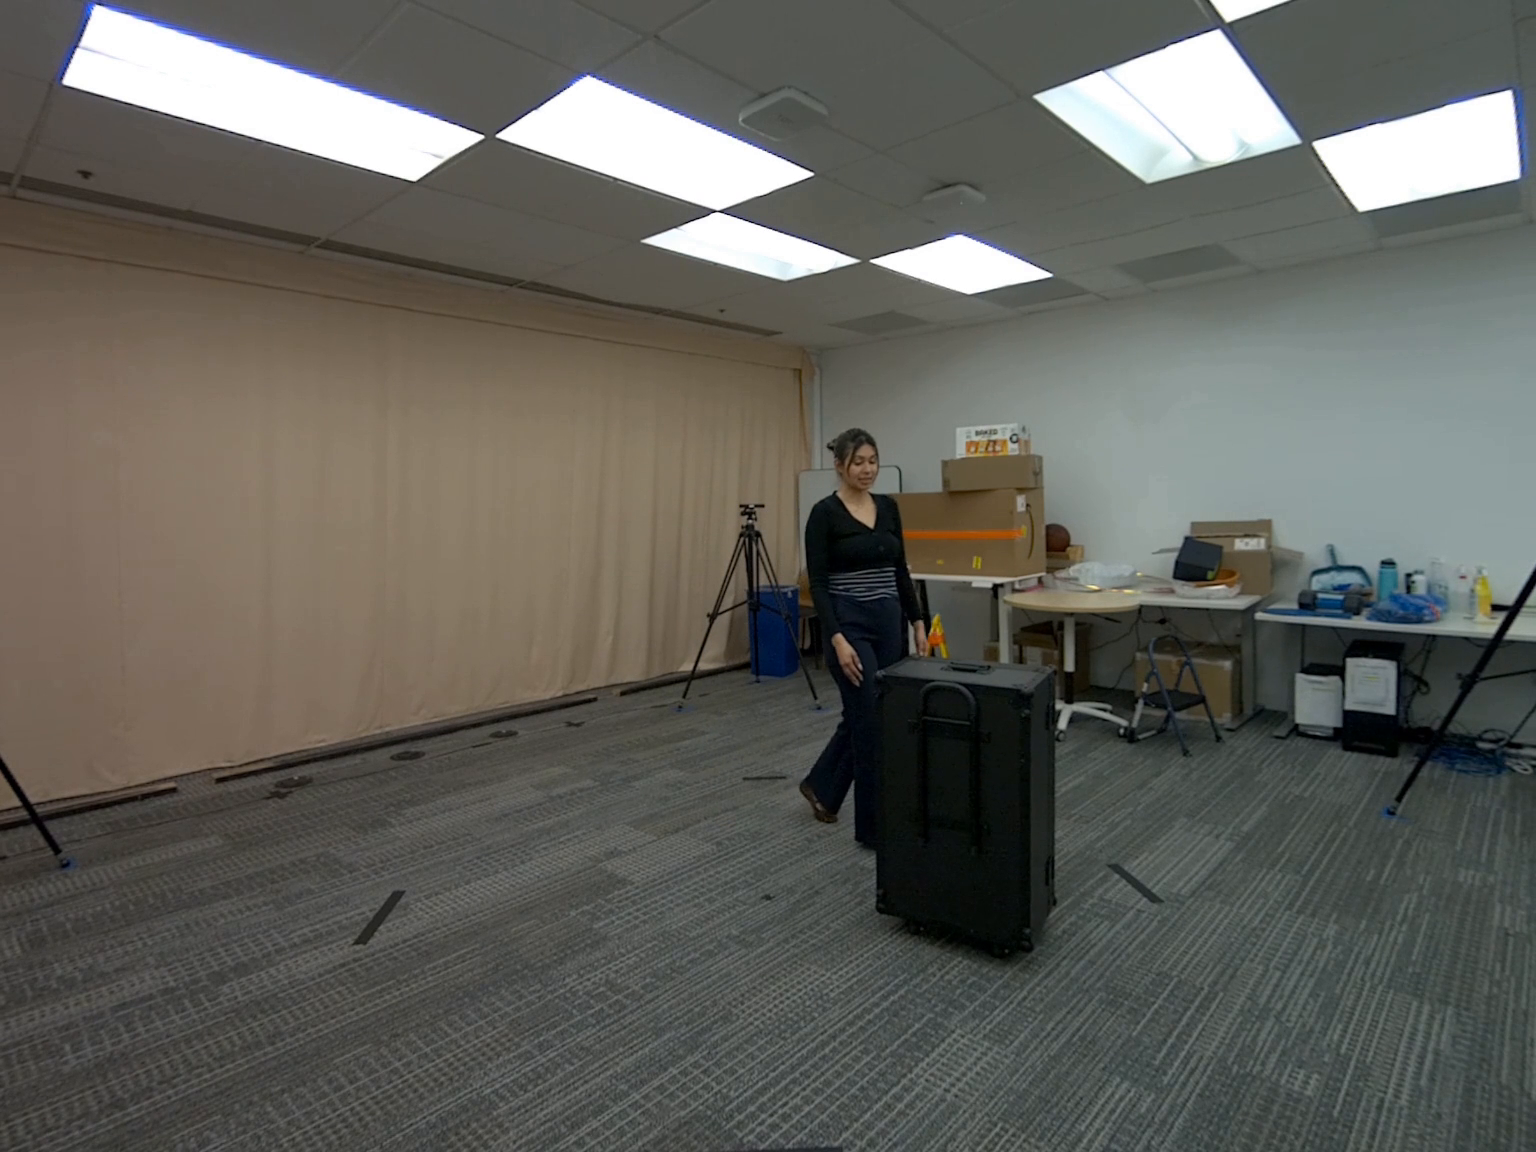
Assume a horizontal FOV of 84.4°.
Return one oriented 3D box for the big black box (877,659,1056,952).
[{"bbox_3d":[0.645,0.728,2.701,0.536,0.859,0.386,1,5,31],"label":"big black box"}]
